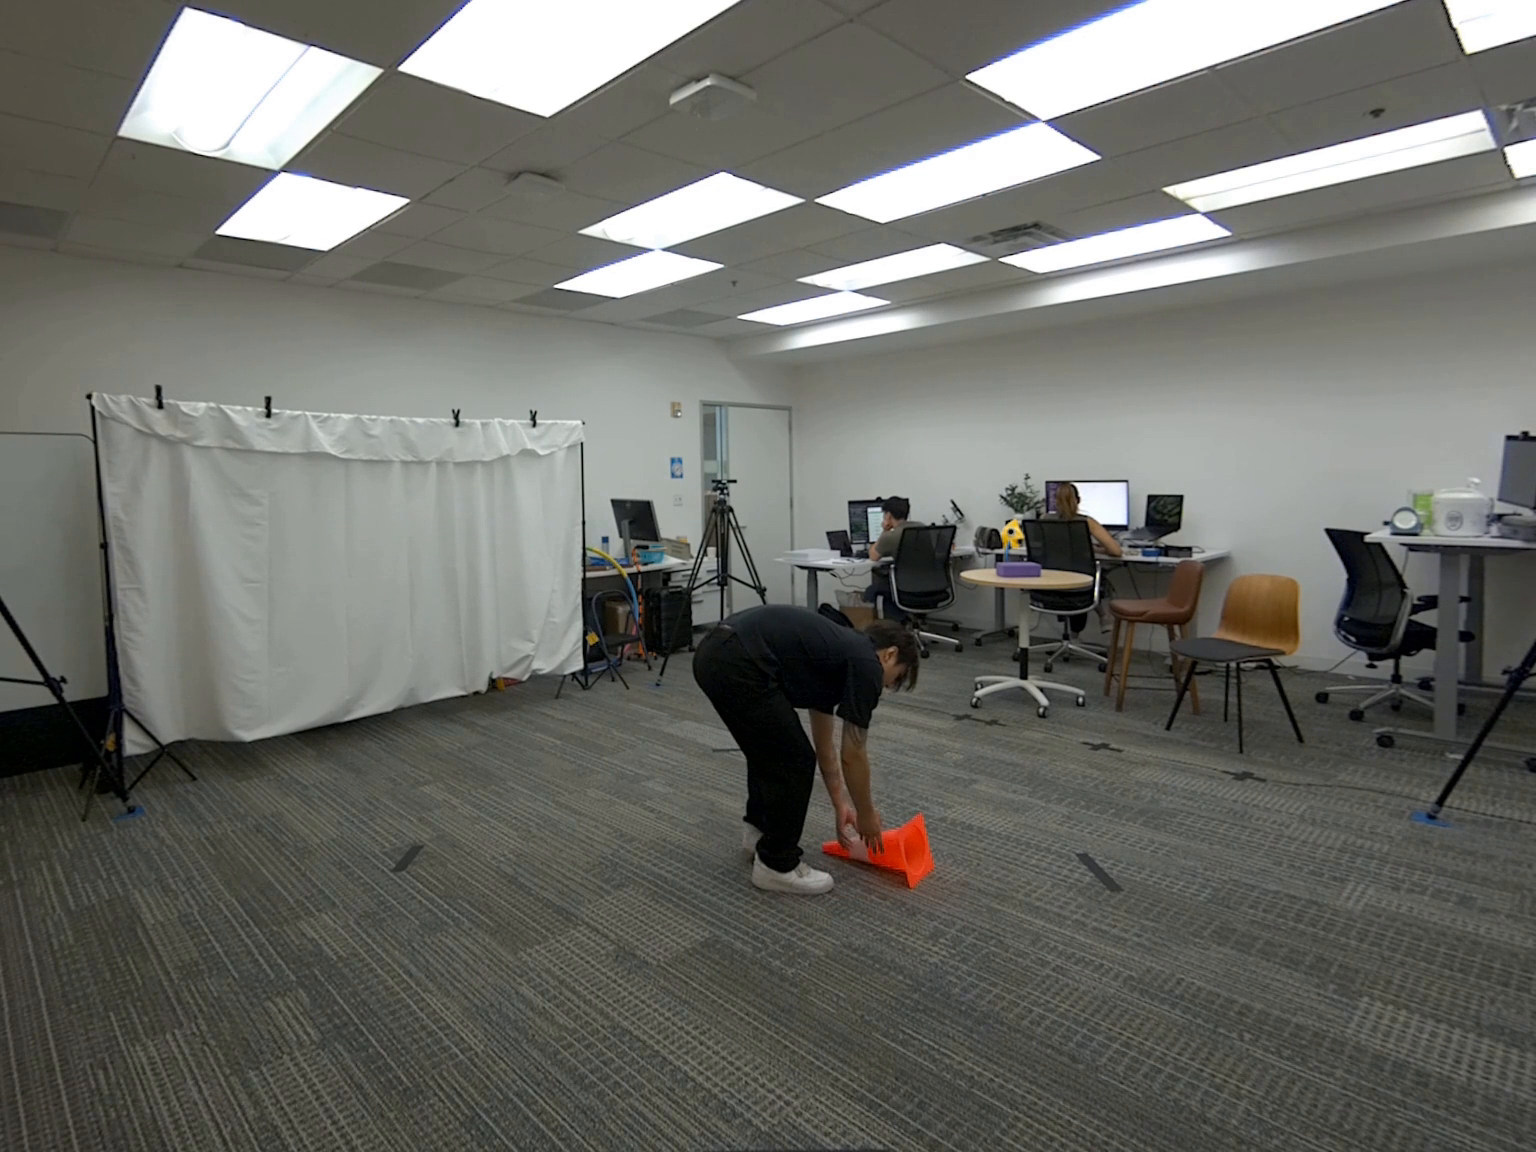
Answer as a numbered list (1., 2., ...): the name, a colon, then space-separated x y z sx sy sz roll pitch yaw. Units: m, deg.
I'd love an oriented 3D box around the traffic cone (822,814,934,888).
1. traffic cone: 0.369 0.997 3.092 0.391 0.206 0.198 -16 -6 38
